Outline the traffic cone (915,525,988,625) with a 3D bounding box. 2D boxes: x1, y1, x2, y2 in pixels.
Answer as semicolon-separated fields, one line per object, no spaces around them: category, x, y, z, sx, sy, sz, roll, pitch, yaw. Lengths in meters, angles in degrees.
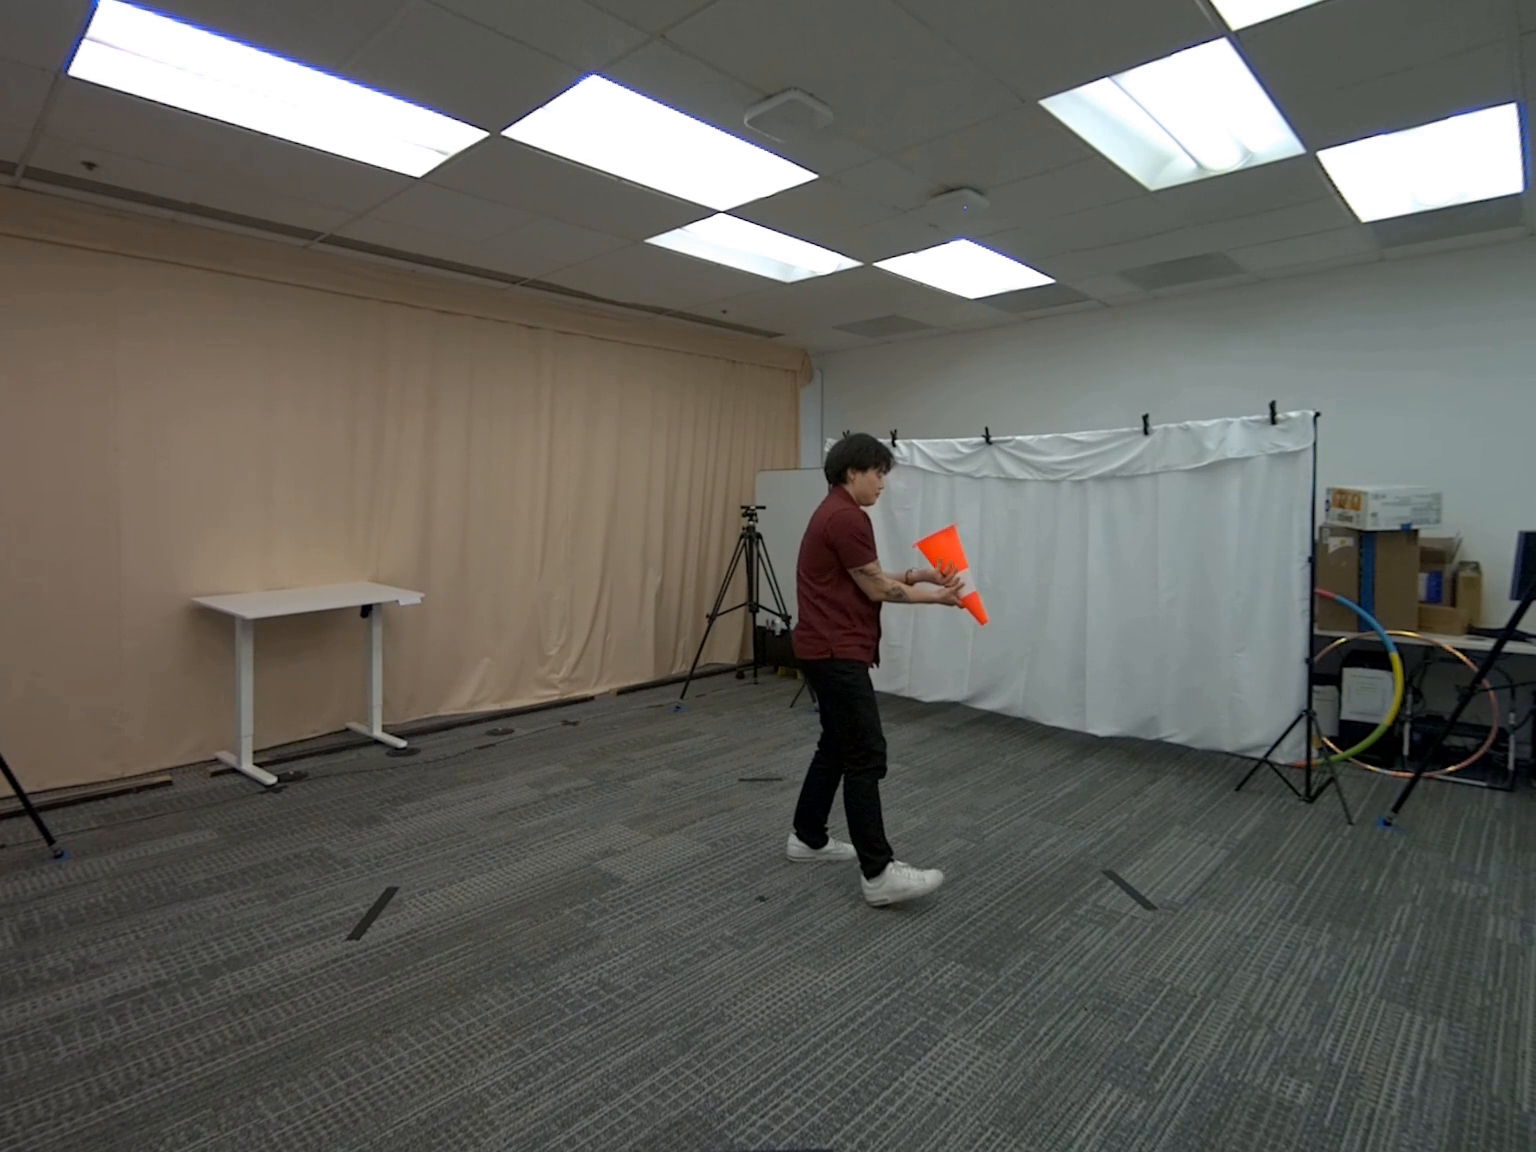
traffic cone;0.735;0.017;3.192;0.205;0.388;0.201;-29;-10;15
